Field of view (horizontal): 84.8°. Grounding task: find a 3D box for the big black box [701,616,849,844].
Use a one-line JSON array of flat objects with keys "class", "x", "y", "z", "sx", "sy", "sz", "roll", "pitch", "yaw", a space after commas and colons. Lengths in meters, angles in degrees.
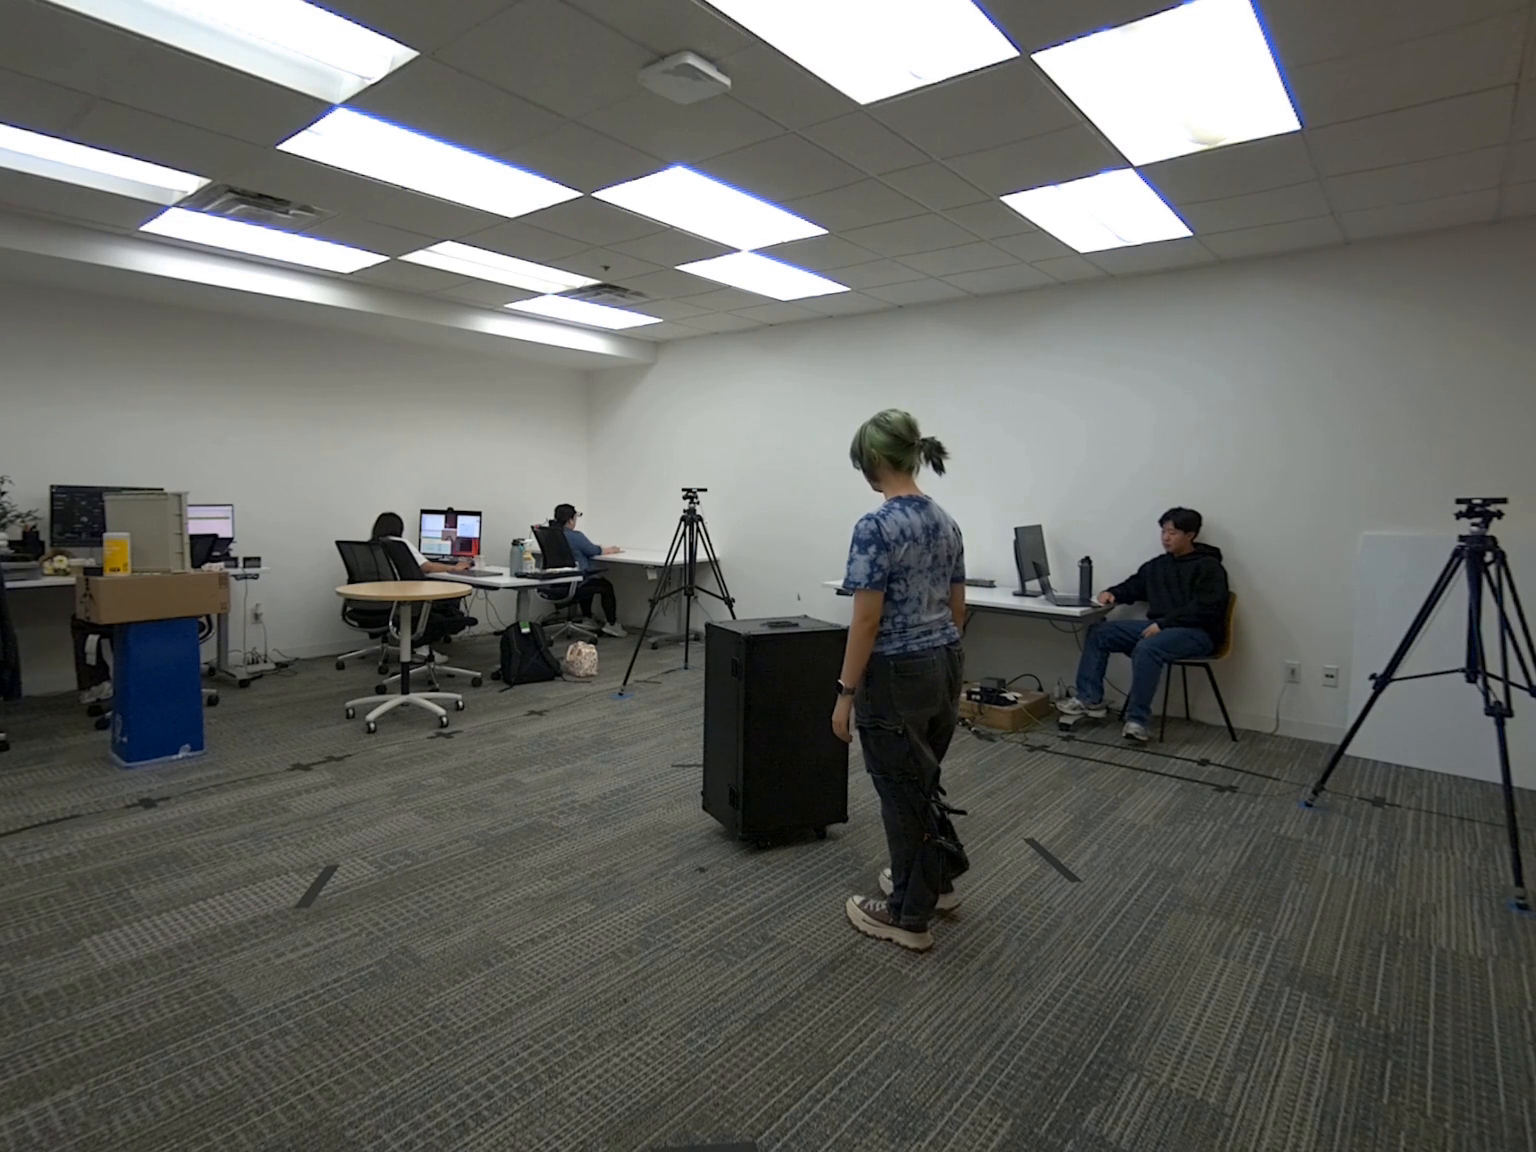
[{"class": "big black box", "x": 0.021, "y": 0.556, "z": 3.445, "sx": 0.508, "sy": 0.859, "sz": 0.408, "roll": -1, "pitch": 3, "yaw": -28}]
